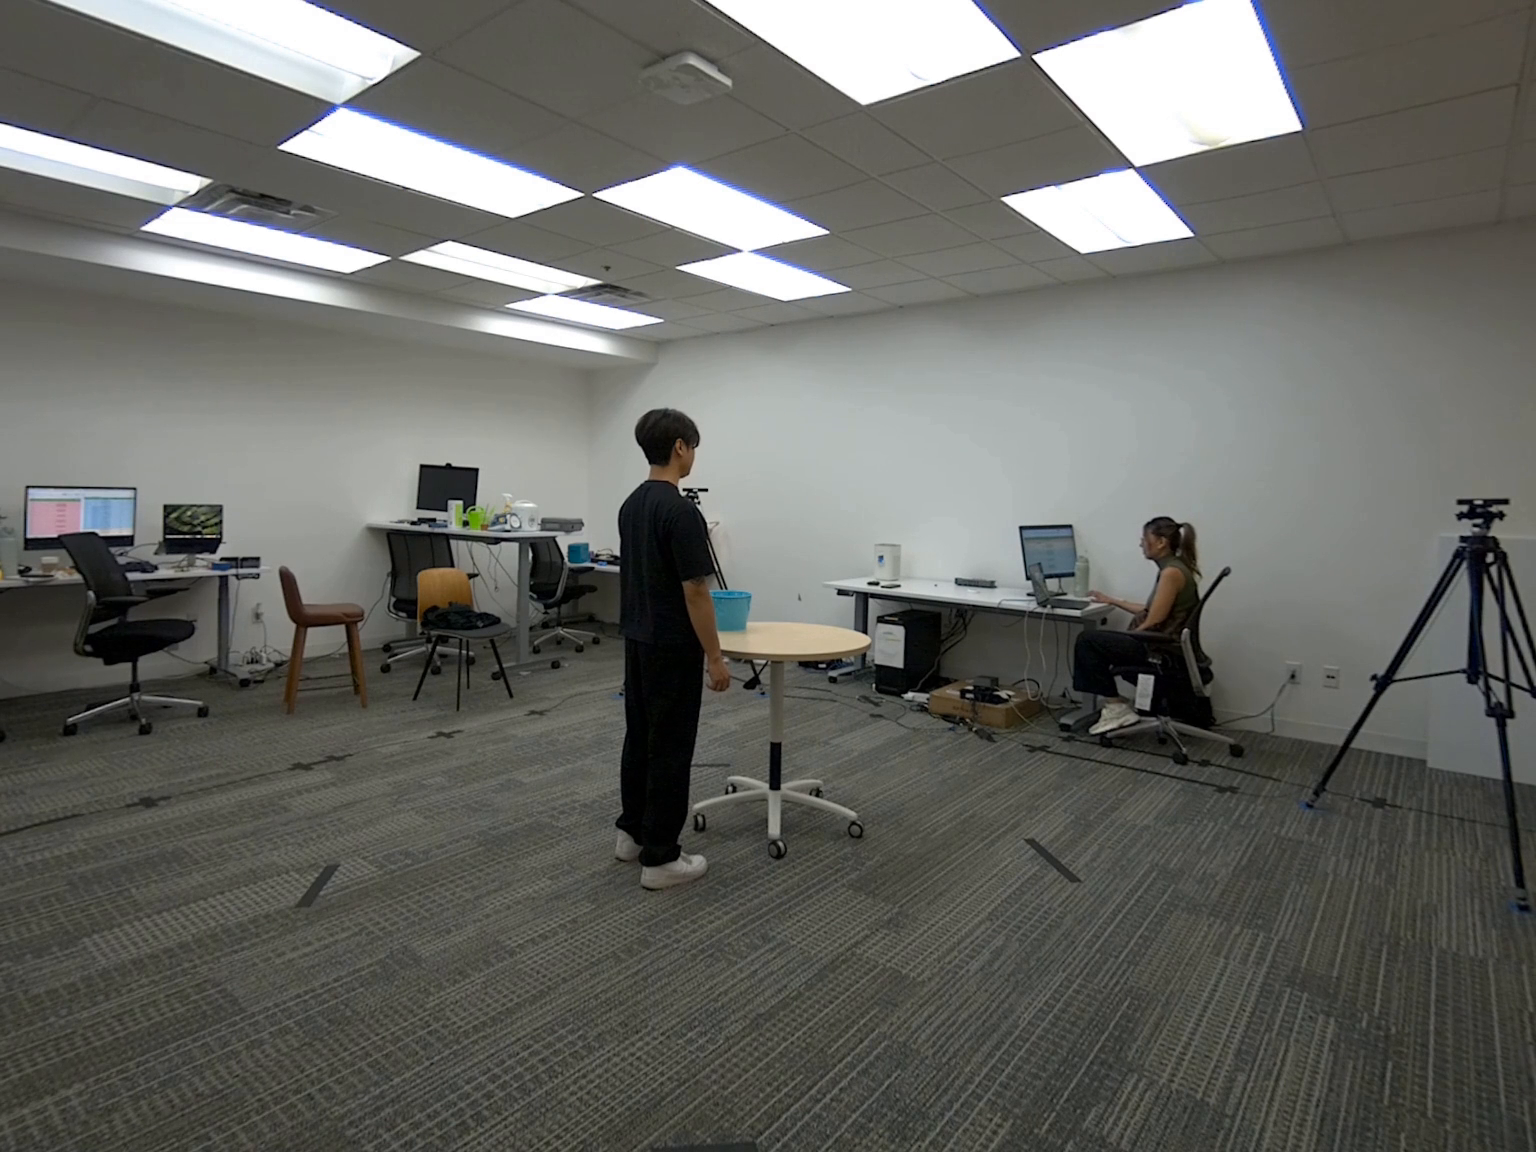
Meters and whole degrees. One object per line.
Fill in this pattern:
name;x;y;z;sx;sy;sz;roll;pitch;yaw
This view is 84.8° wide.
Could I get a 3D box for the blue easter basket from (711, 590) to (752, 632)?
blue easter basket;-0.195;0.152;3.768;0.243;0.155;0.245;1;6;-2
